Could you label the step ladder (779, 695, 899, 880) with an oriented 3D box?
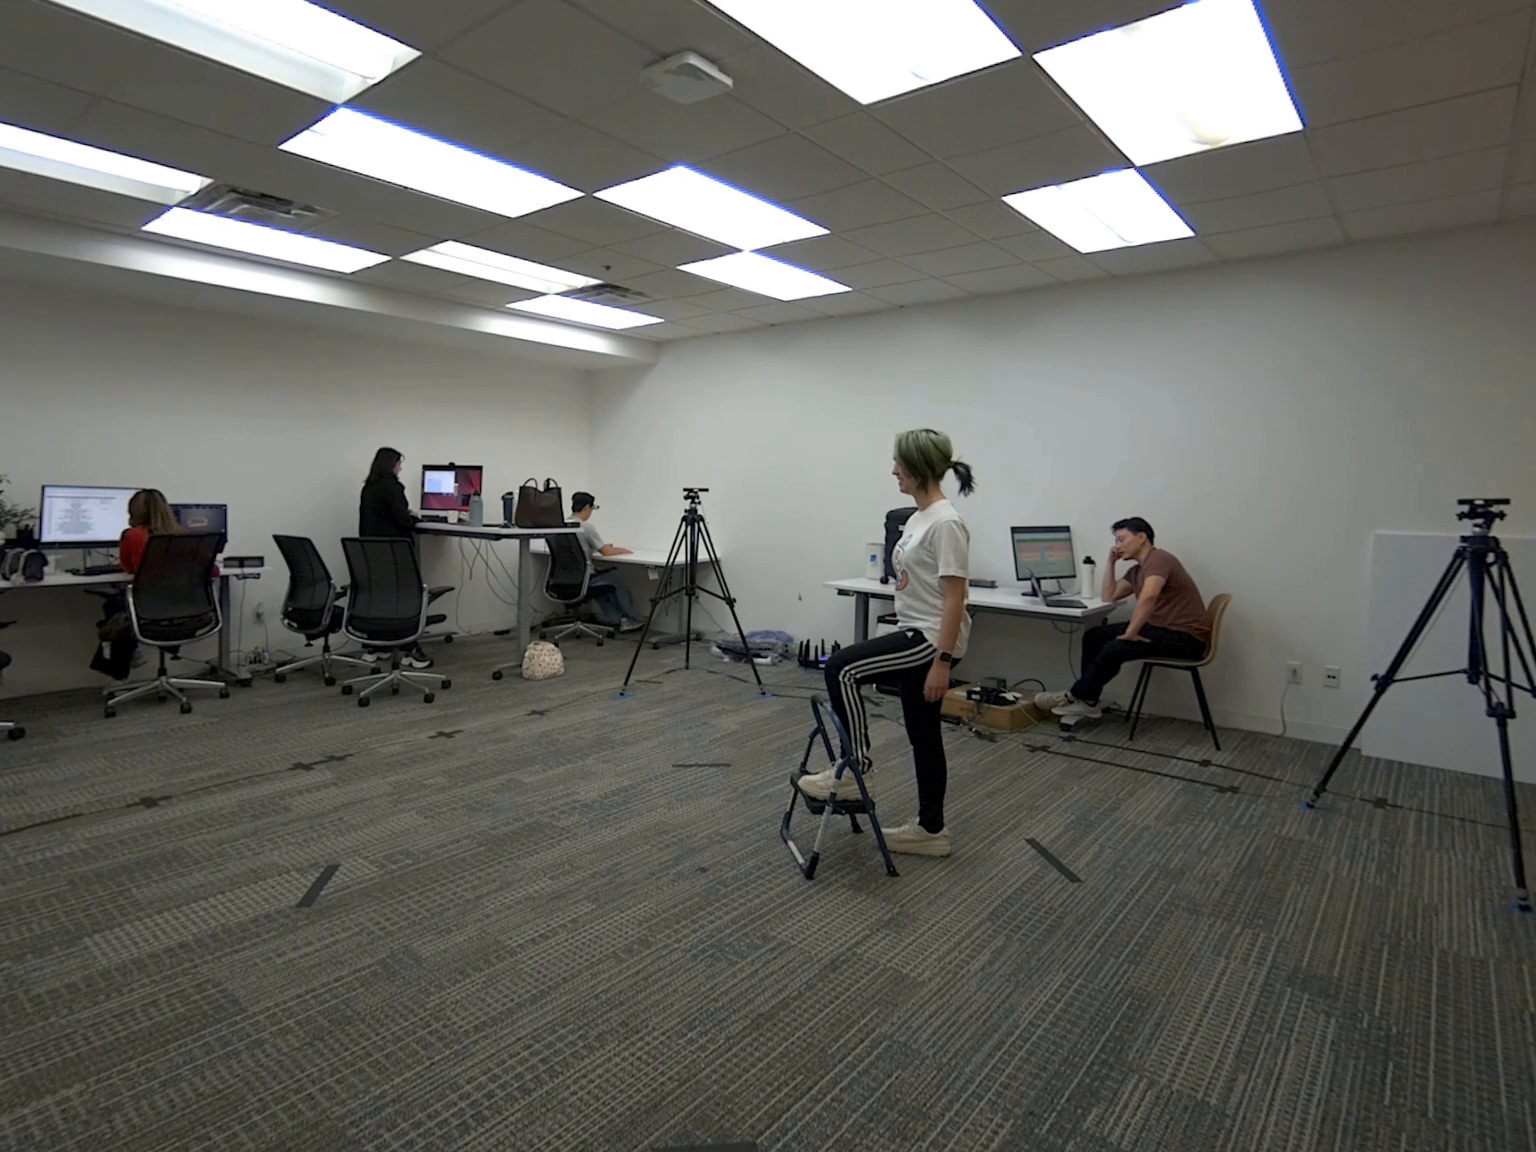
[{"bbox_3d":[0.260,0.770,3.257,0.345,0.604,0.437,1,4,-13],"label":"step ladder"}]
